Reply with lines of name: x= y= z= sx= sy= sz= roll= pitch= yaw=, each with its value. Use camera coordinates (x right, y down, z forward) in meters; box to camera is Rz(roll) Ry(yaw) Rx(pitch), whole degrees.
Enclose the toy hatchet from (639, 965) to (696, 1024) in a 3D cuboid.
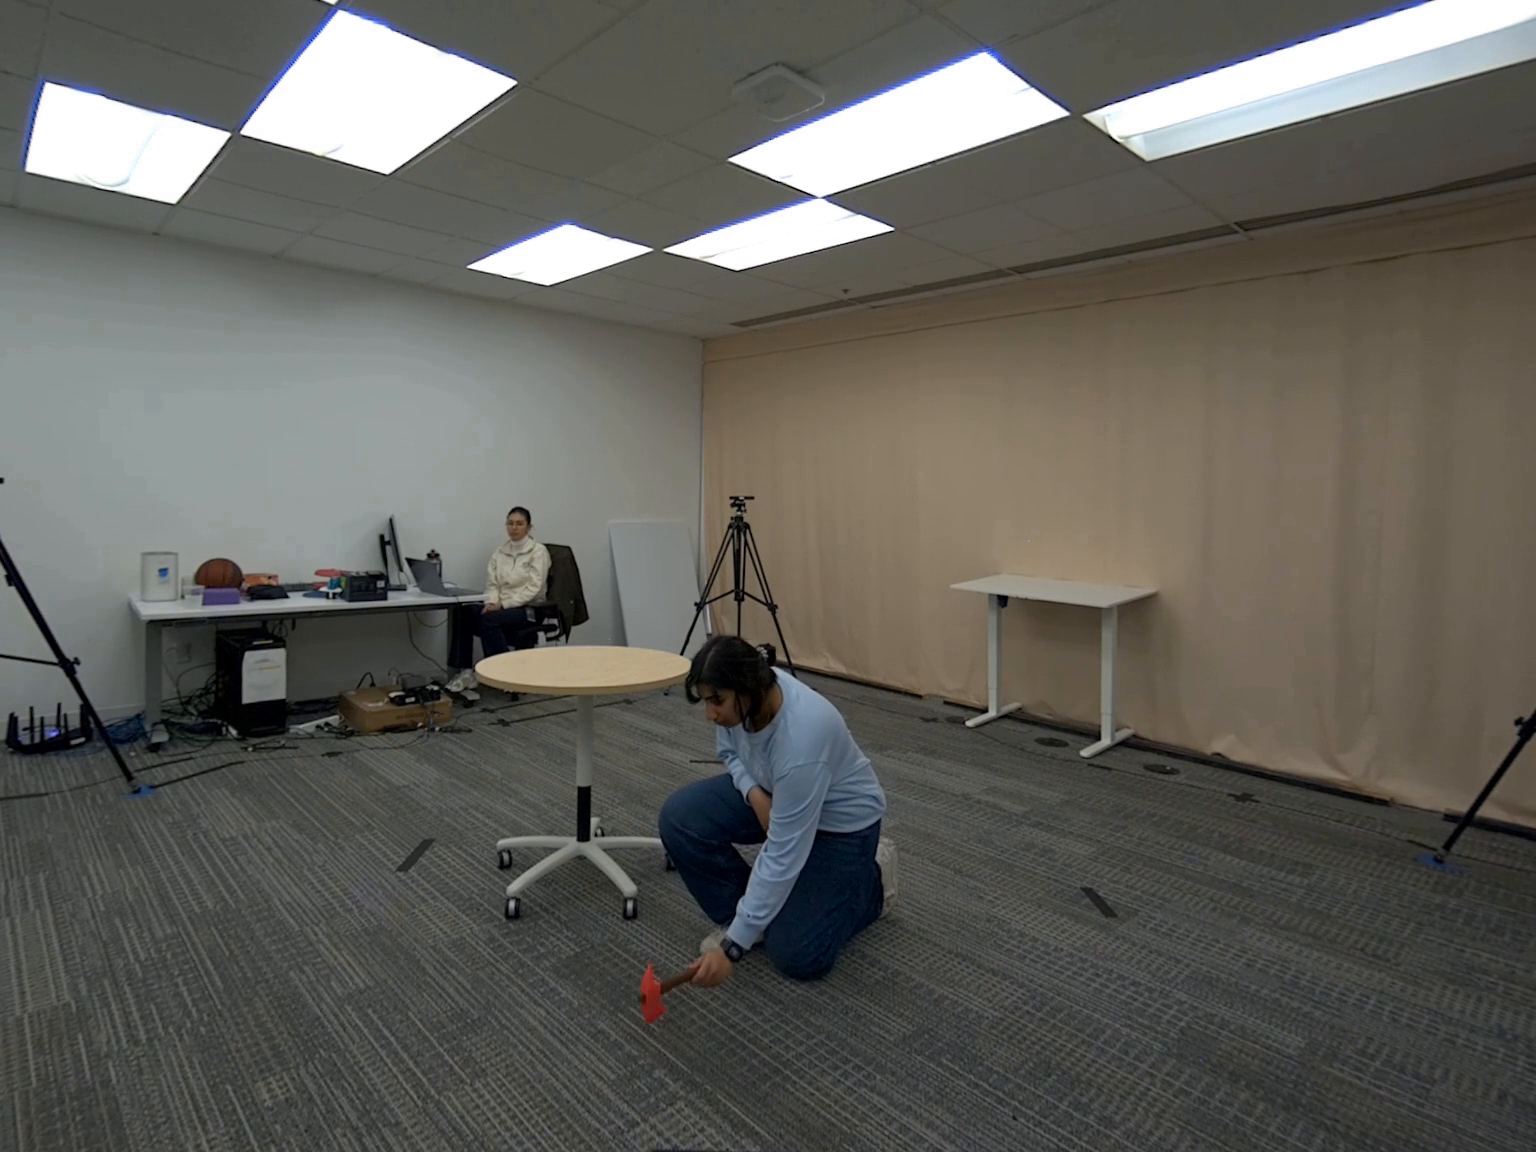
toy hatchet: x=-0.225 y=1.025 z=2.064 sx=0.030 sy=0.132 sz=0.262 roll=-5 pitch=-23 yaw=42
